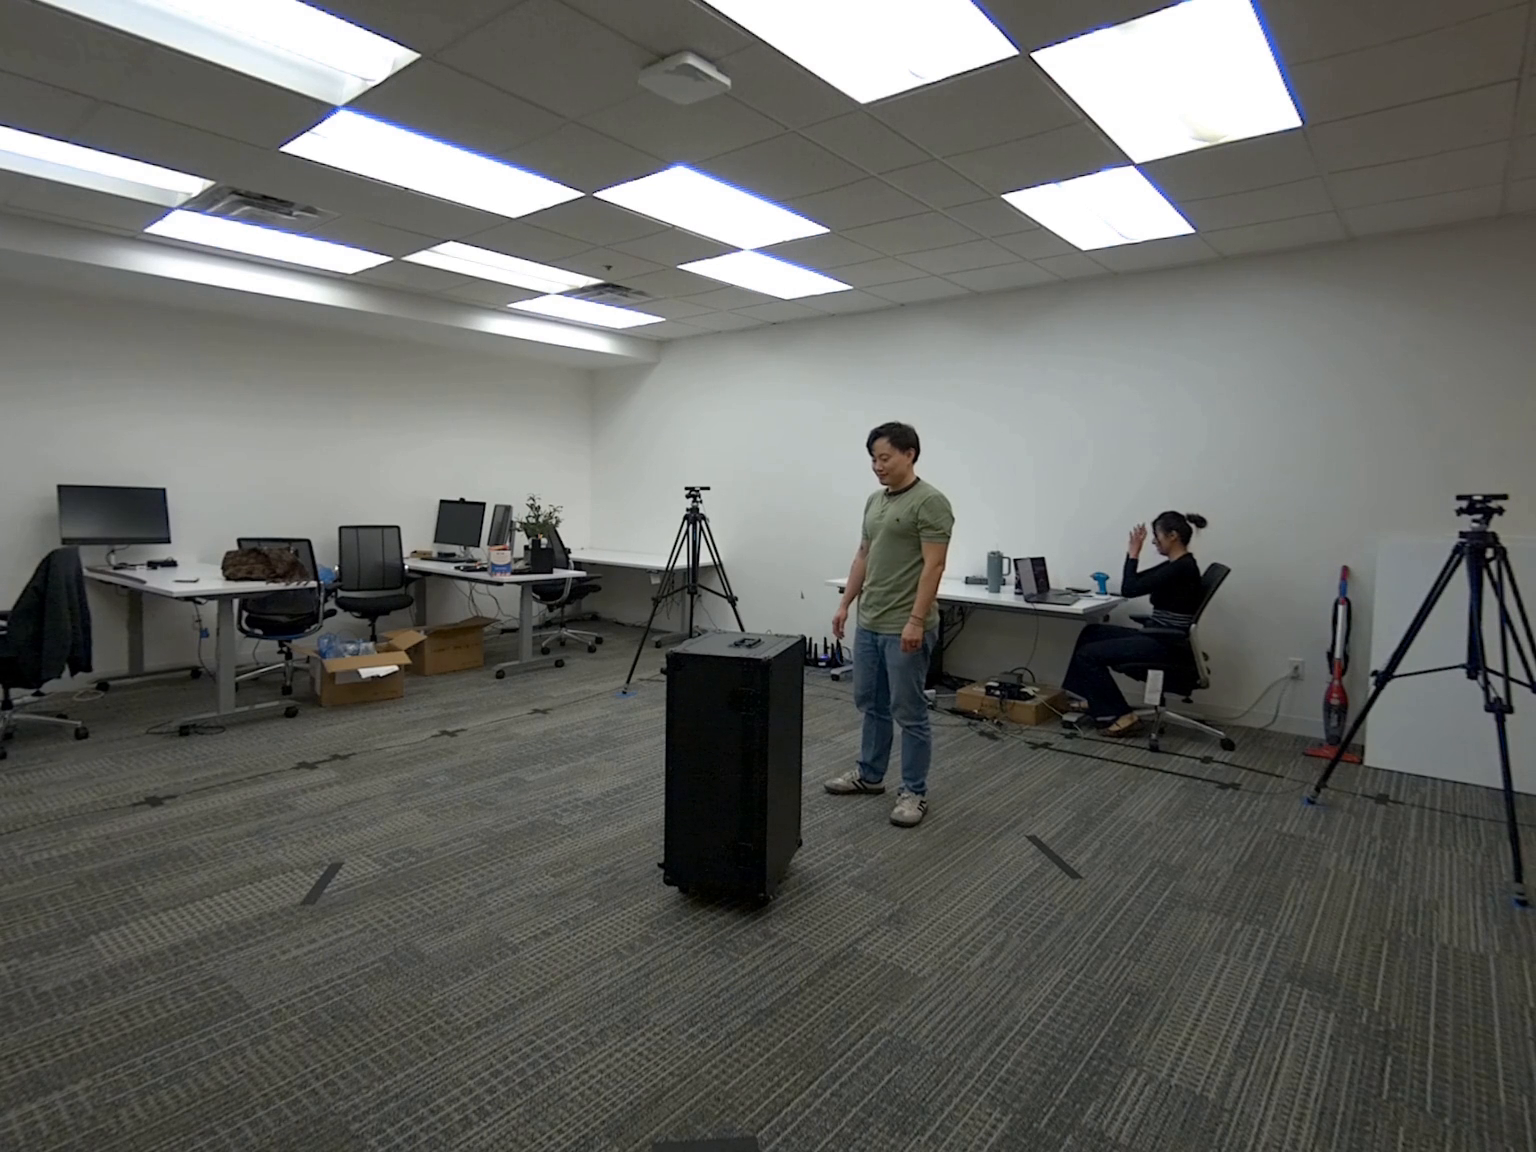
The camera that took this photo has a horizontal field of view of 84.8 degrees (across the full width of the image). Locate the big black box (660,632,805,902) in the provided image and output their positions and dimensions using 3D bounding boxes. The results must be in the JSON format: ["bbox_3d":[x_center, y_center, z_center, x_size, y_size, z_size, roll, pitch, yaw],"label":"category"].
[{"bbox_3d":[-0.126,0.652,2.968,0.404,0.859,0.512,1,3,18],"label":"big black box"}]
